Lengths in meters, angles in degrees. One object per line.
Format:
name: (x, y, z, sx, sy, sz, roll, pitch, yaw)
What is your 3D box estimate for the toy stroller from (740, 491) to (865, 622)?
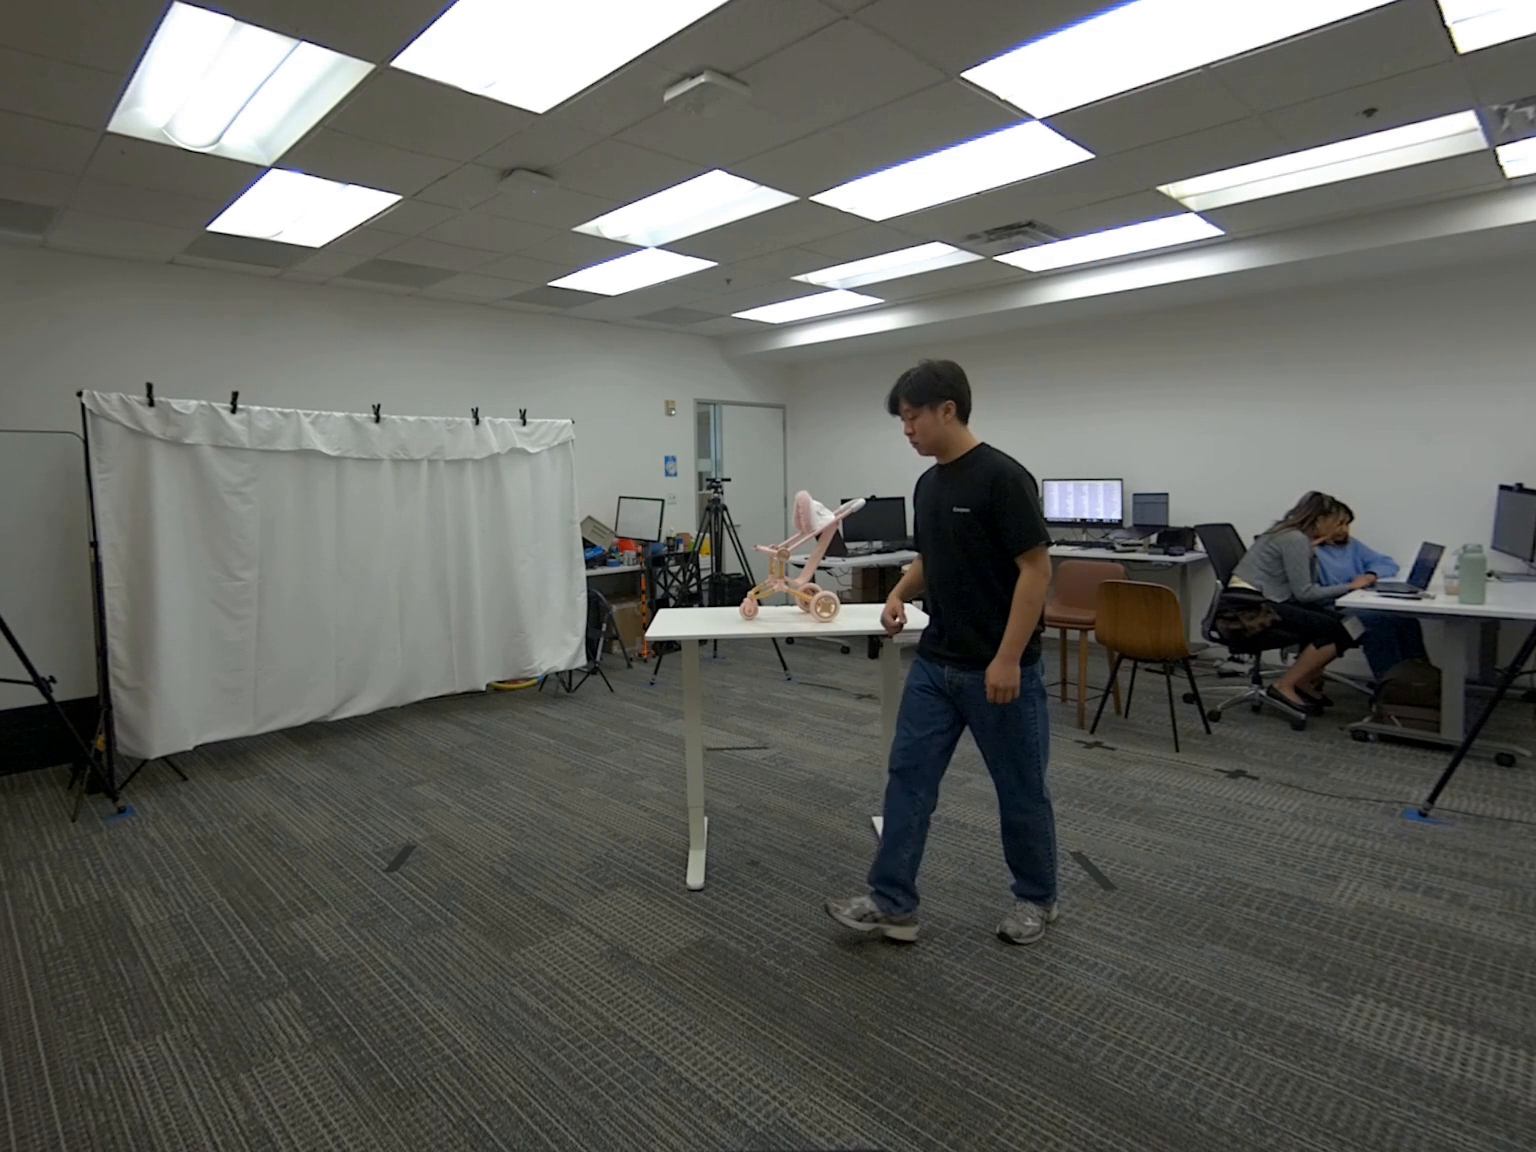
toy stroller: (0.115, -0.069, 3.117, 0.340, 0.534, 0.283, 14, 2, -5)
